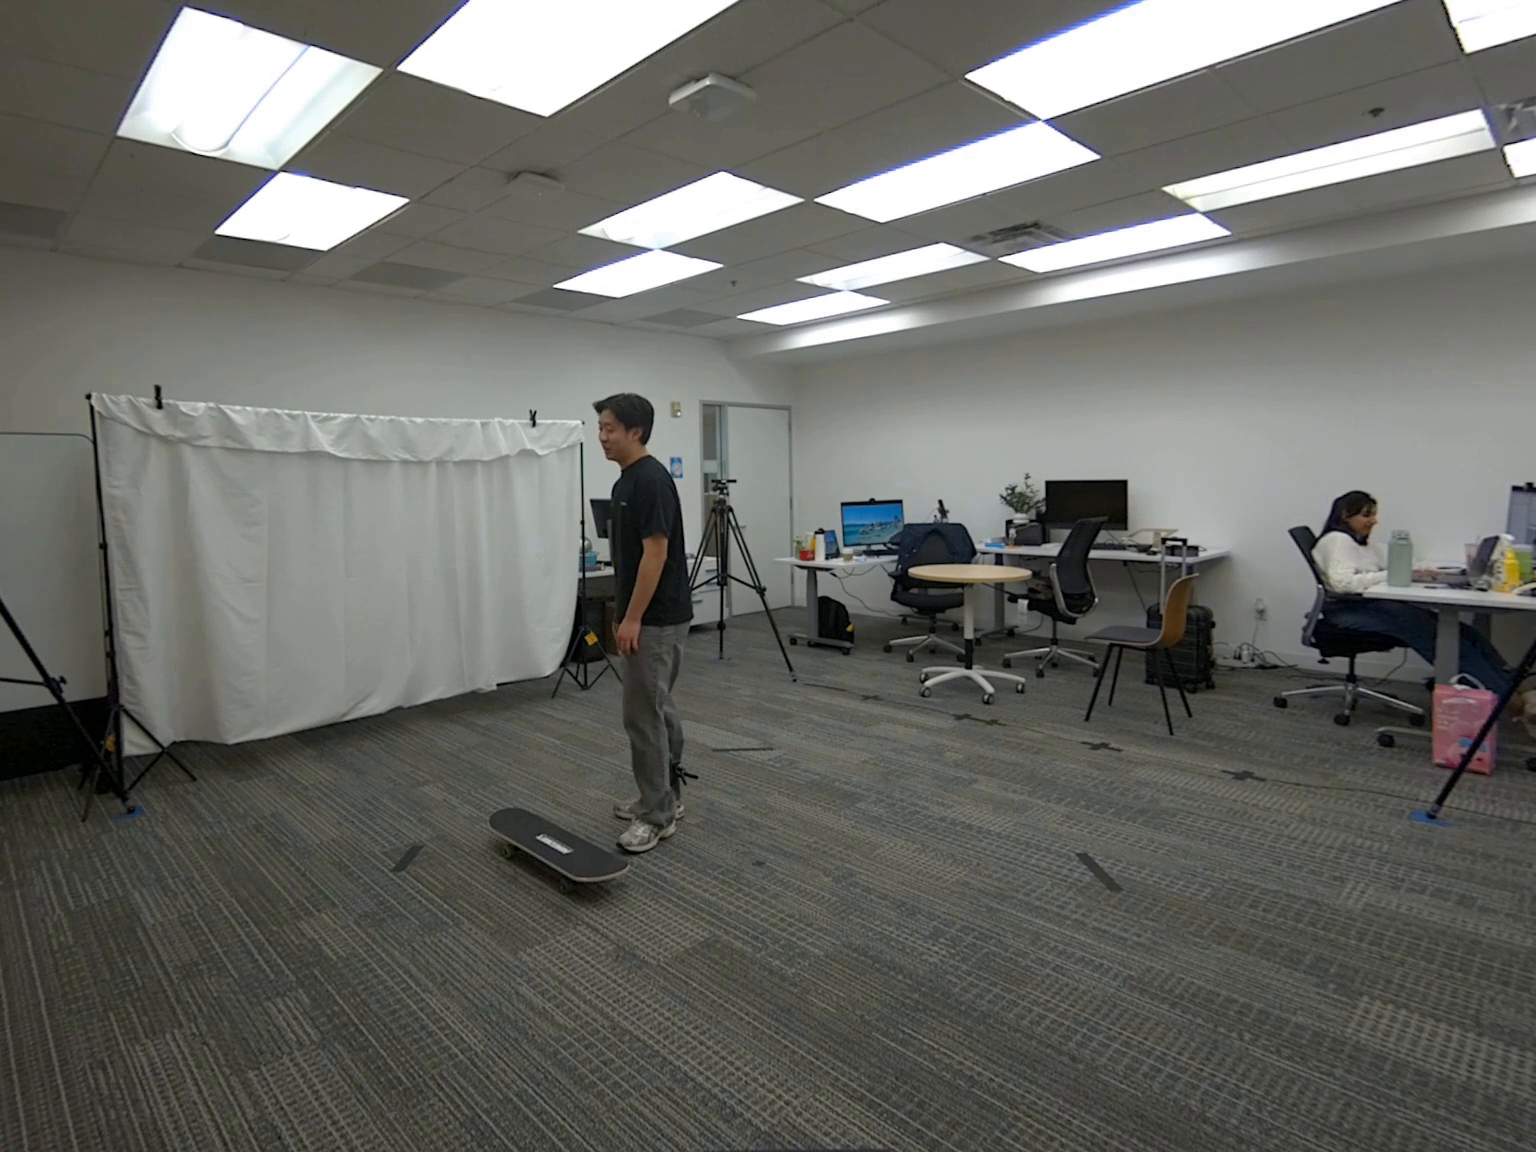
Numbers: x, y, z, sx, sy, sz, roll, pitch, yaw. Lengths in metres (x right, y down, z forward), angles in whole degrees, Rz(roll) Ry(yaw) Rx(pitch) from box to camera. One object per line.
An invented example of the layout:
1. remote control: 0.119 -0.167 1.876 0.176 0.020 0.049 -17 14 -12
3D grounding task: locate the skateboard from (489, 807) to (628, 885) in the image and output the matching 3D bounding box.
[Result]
1. skateboard: -0.774 1.007 3.106 0.188 0.110 0.810 -8 9 -44
